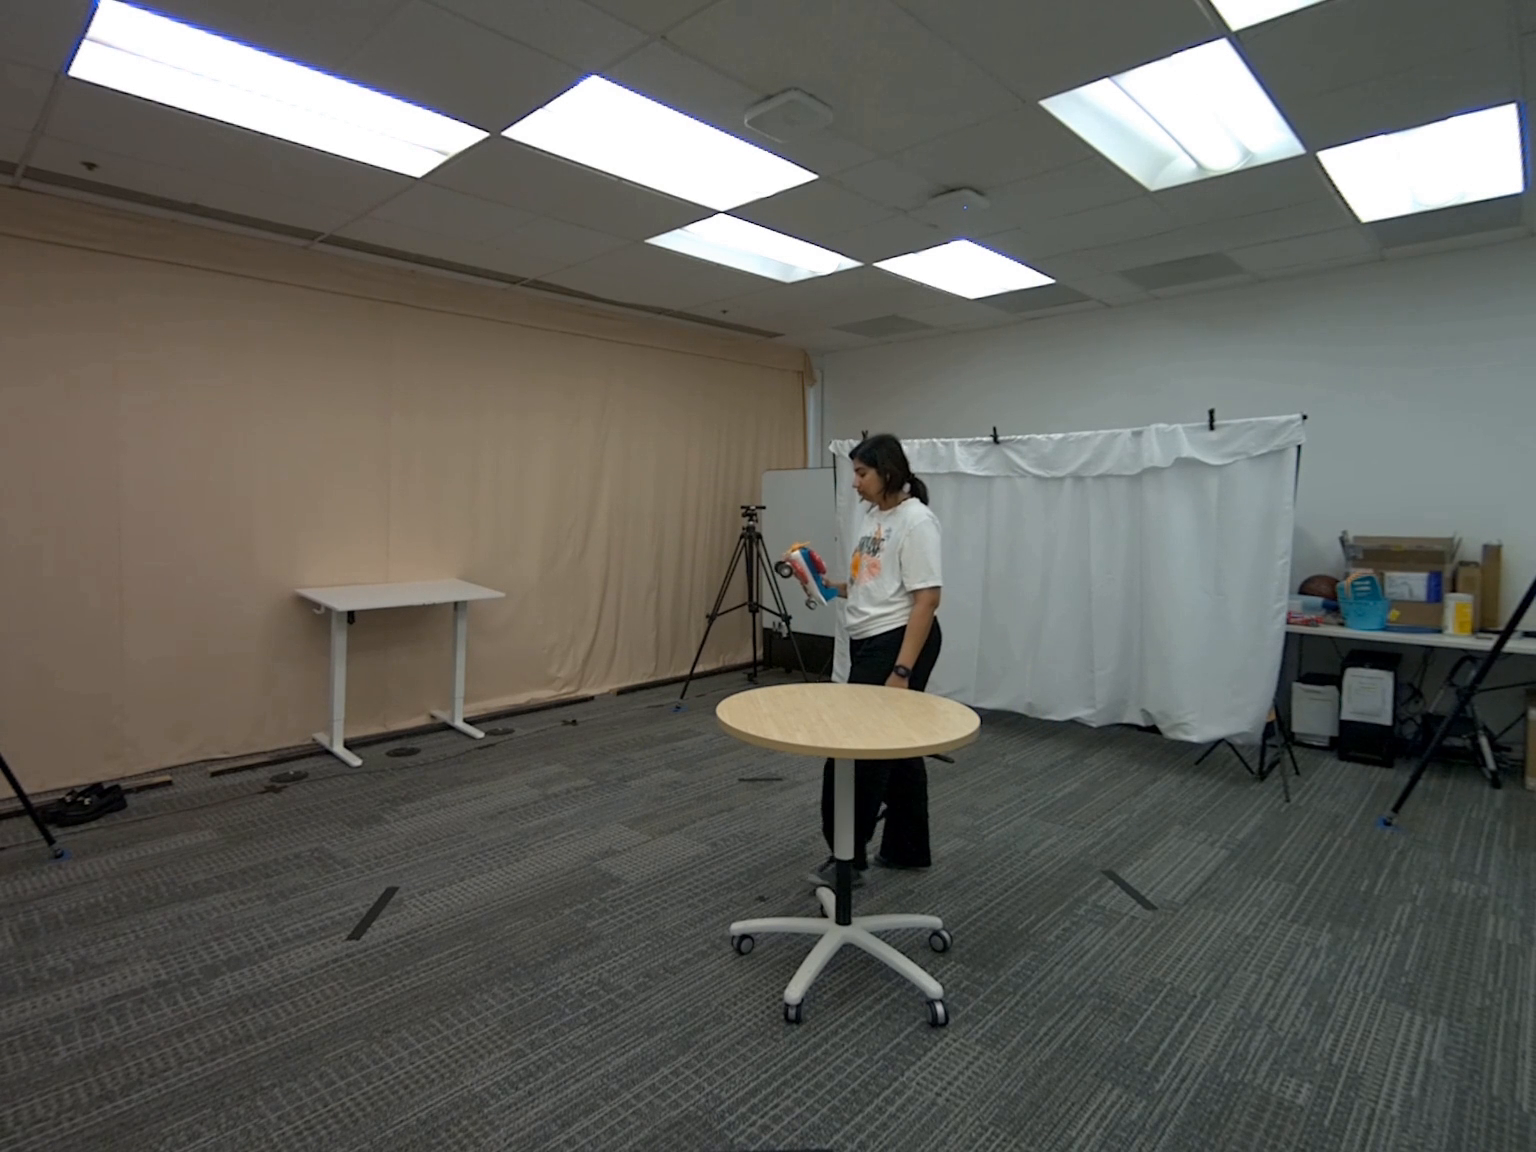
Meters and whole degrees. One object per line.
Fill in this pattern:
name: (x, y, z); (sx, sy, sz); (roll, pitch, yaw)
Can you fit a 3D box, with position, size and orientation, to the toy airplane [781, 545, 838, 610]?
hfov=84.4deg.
toy airplane: (0.145, -0.004, 3.231); (0.250, 0.156, 0.260); (51, -3, -40)
